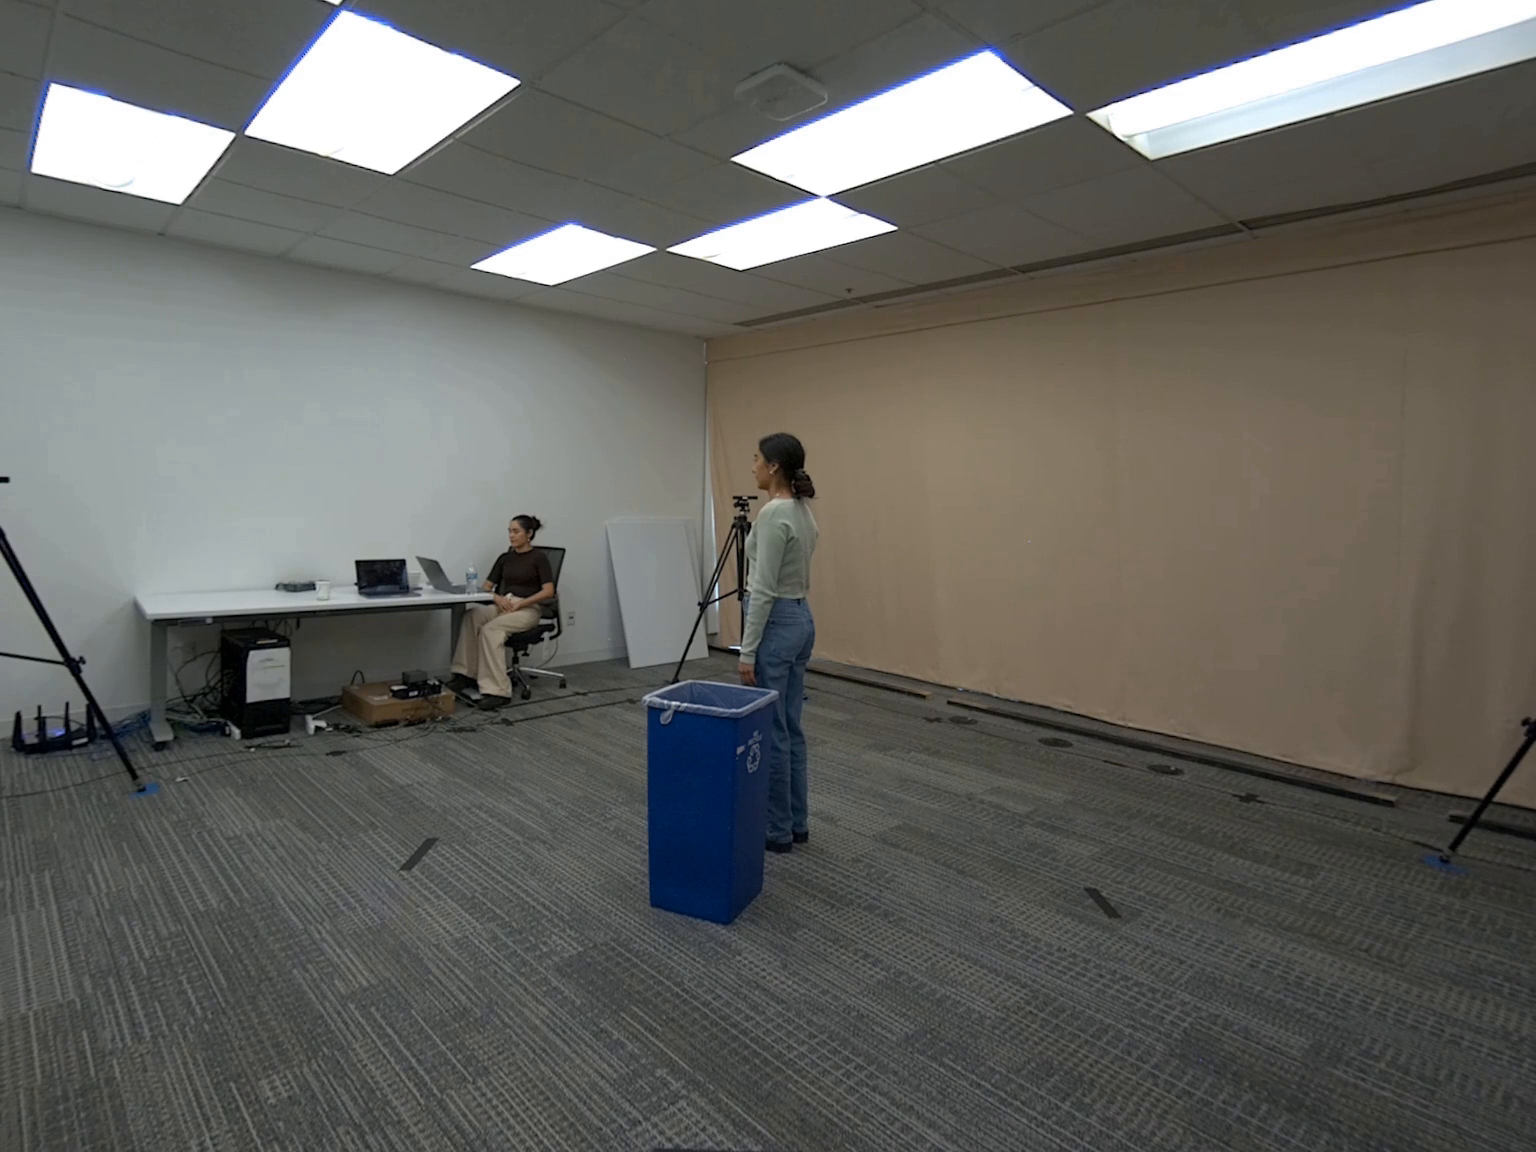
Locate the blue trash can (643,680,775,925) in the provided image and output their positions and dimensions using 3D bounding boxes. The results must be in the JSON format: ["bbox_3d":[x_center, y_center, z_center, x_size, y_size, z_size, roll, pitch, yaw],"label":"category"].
[{"bbox_3d":[-0.208,0.762,2.914,0.385,0.712,0.368,3,4,23],"label":"blue trash can"}]
